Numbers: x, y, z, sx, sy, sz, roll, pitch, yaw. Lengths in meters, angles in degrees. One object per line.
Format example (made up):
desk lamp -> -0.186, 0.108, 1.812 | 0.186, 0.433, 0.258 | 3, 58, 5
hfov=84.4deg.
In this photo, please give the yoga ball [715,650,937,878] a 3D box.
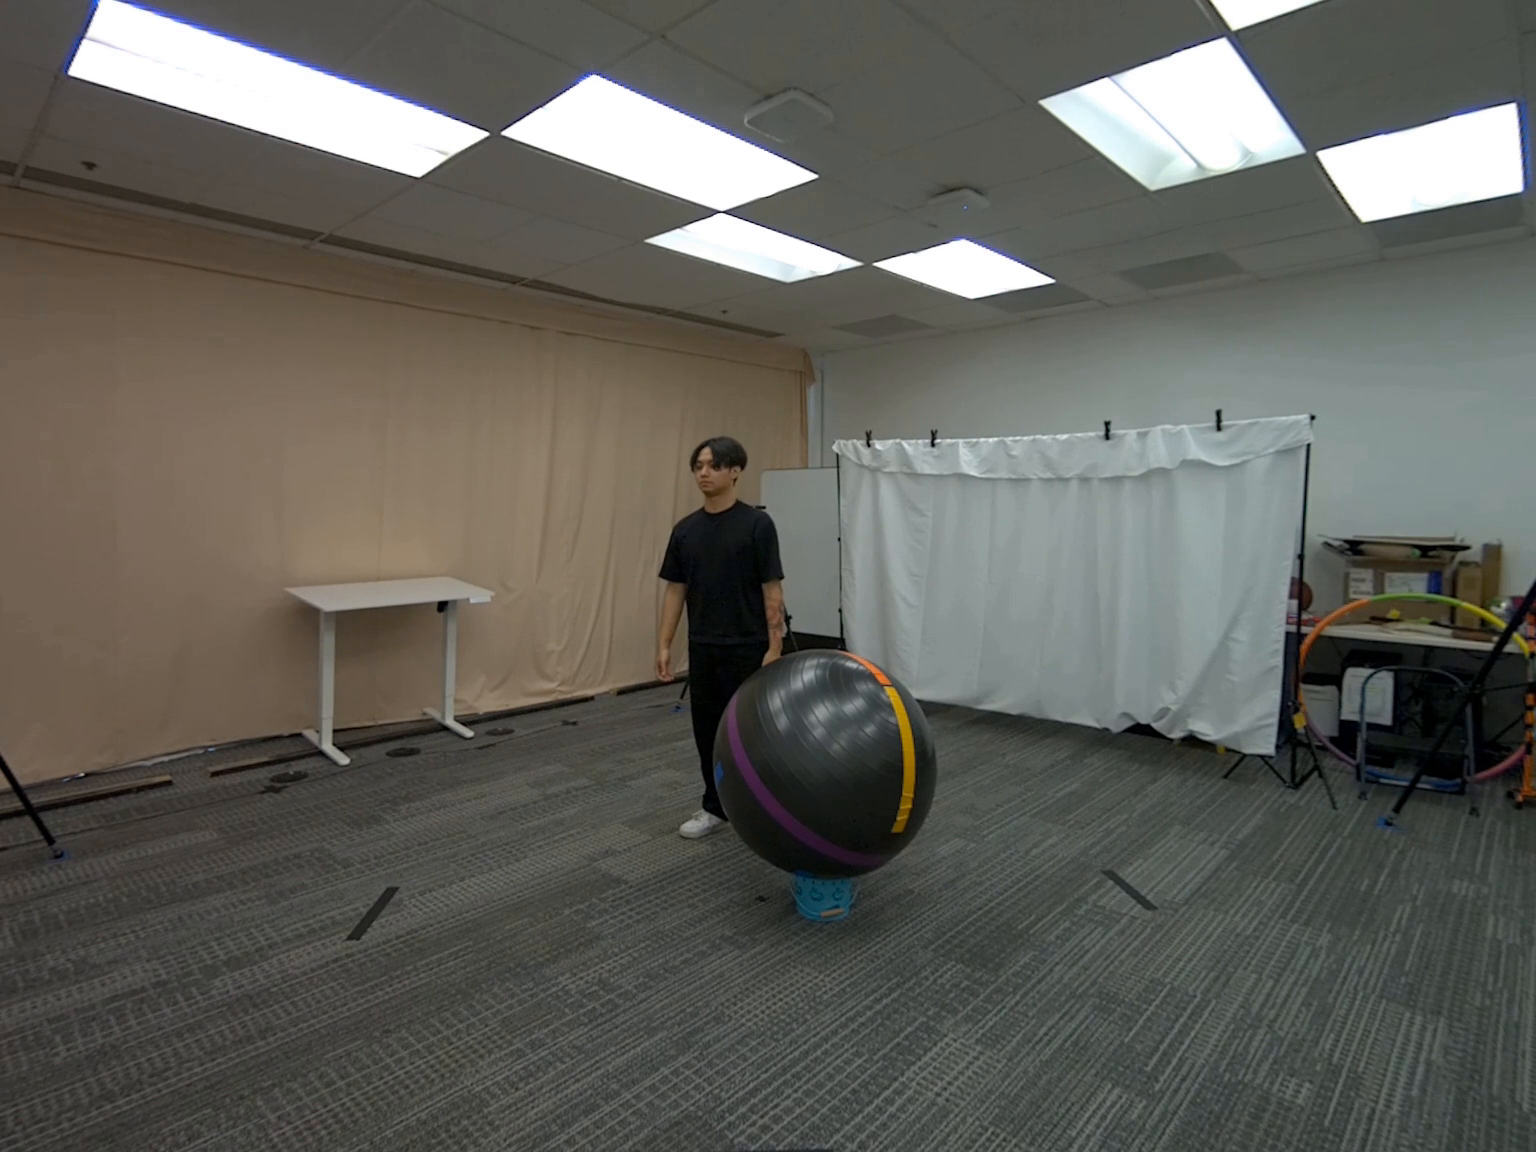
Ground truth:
yoga ball -> 0.199, 0.636, 2.894 | 0.757, 0.756, 0.760 | 0, 4, -2
